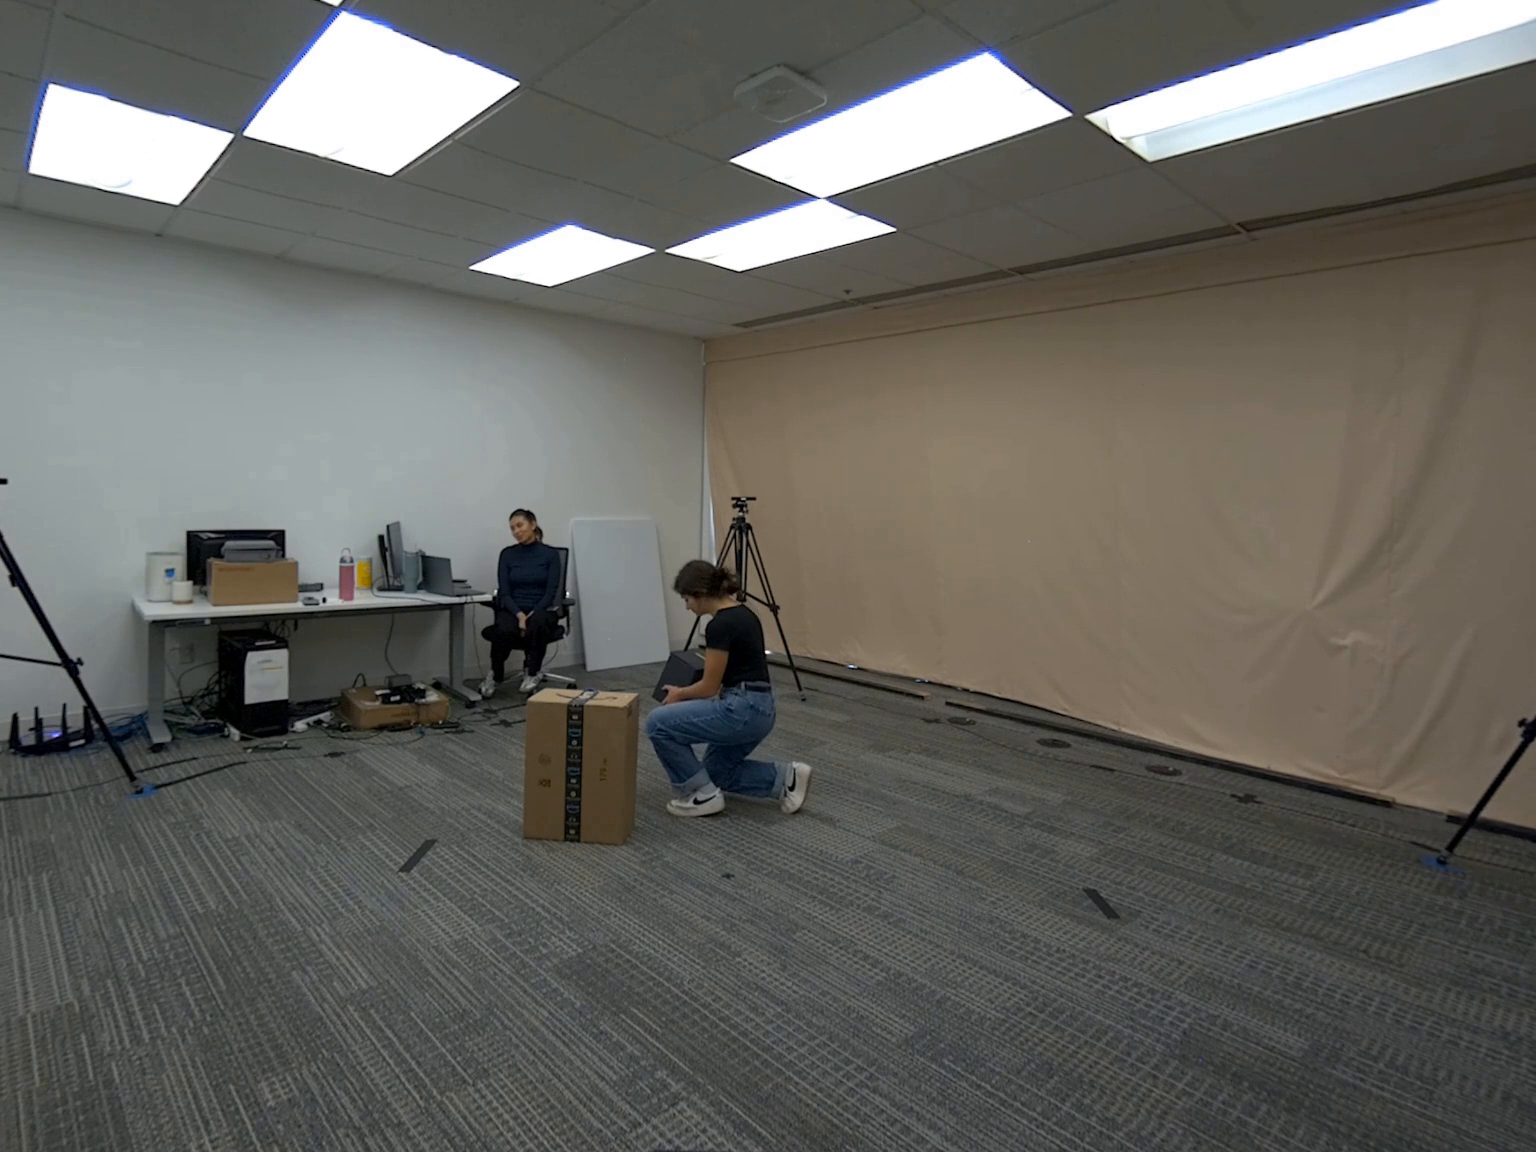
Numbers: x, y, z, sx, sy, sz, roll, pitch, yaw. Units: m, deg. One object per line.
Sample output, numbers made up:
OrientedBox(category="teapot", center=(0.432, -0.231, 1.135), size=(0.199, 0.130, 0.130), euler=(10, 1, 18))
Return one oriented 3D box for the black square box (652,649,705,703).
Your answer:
OrientedBox(category="black square box", center=(-0.389, 0.484, 3.939), size=(0.159, 0.227, 0.213), euler=(26, 9, 23))
